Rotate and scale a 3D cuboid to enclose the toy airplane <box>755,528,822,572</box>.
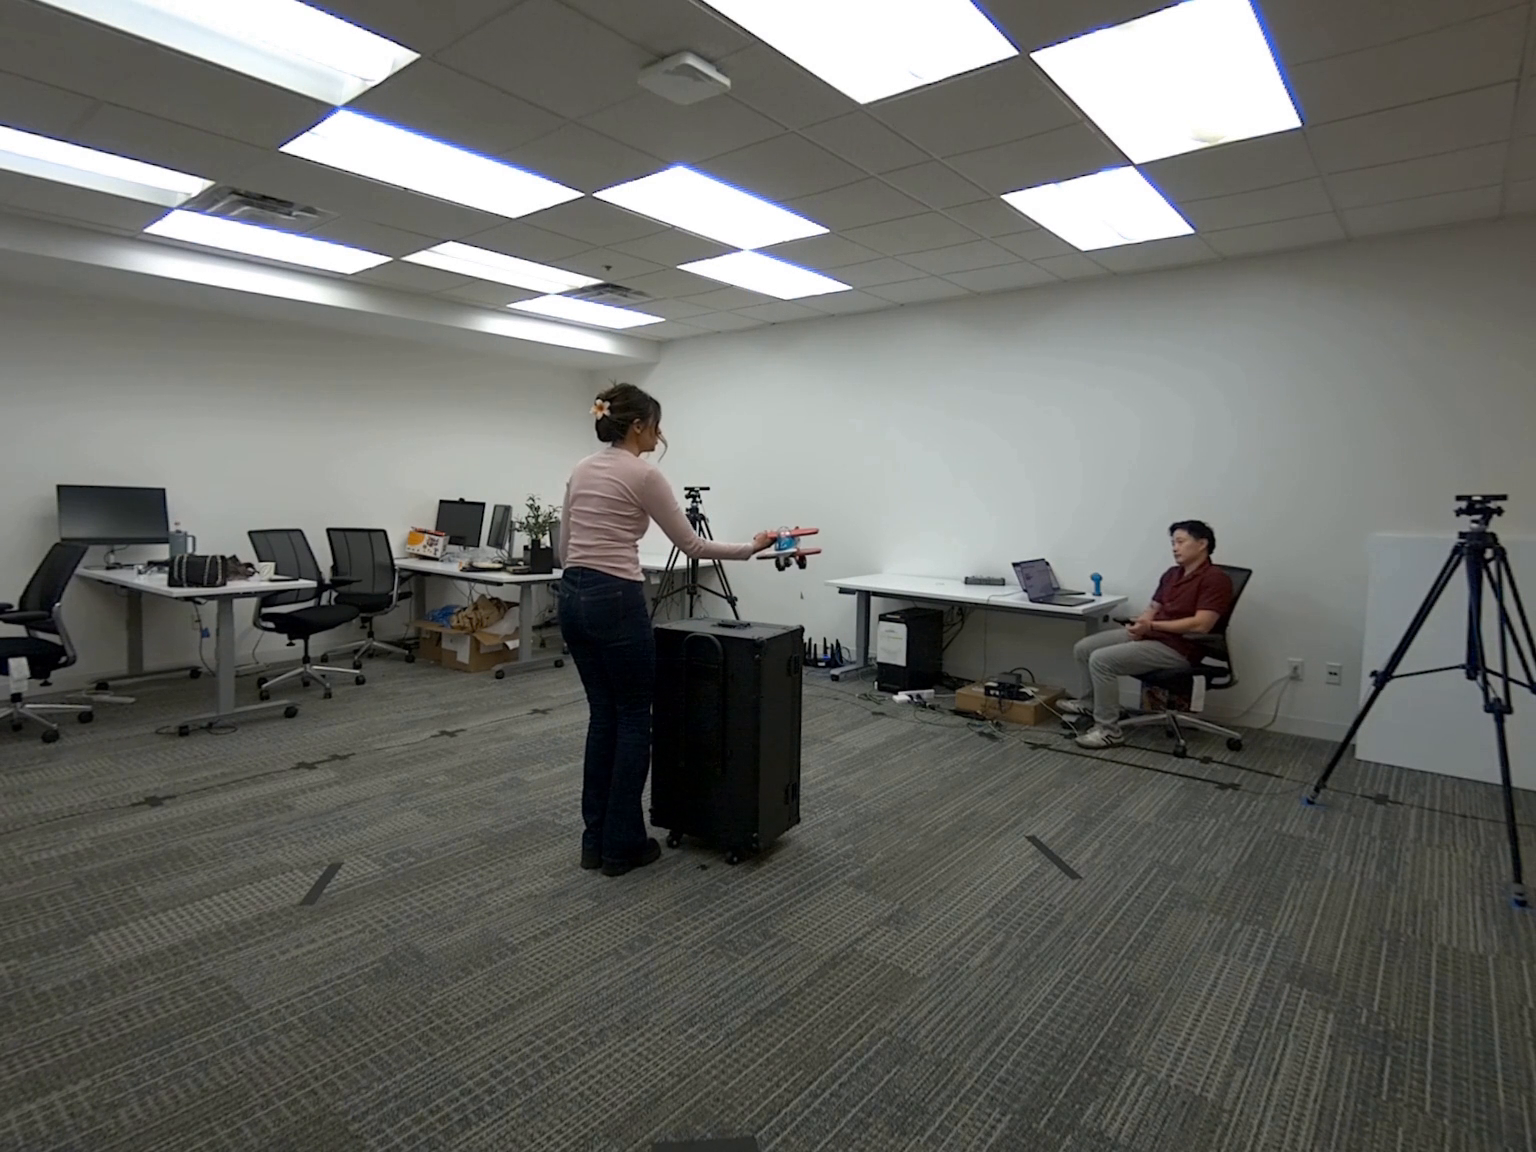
[{"bbox_3d":[0.081,-0.103,3.247,0.247,0.157,0.262,-5,-3,-16],"label":"toy airplane"}]
